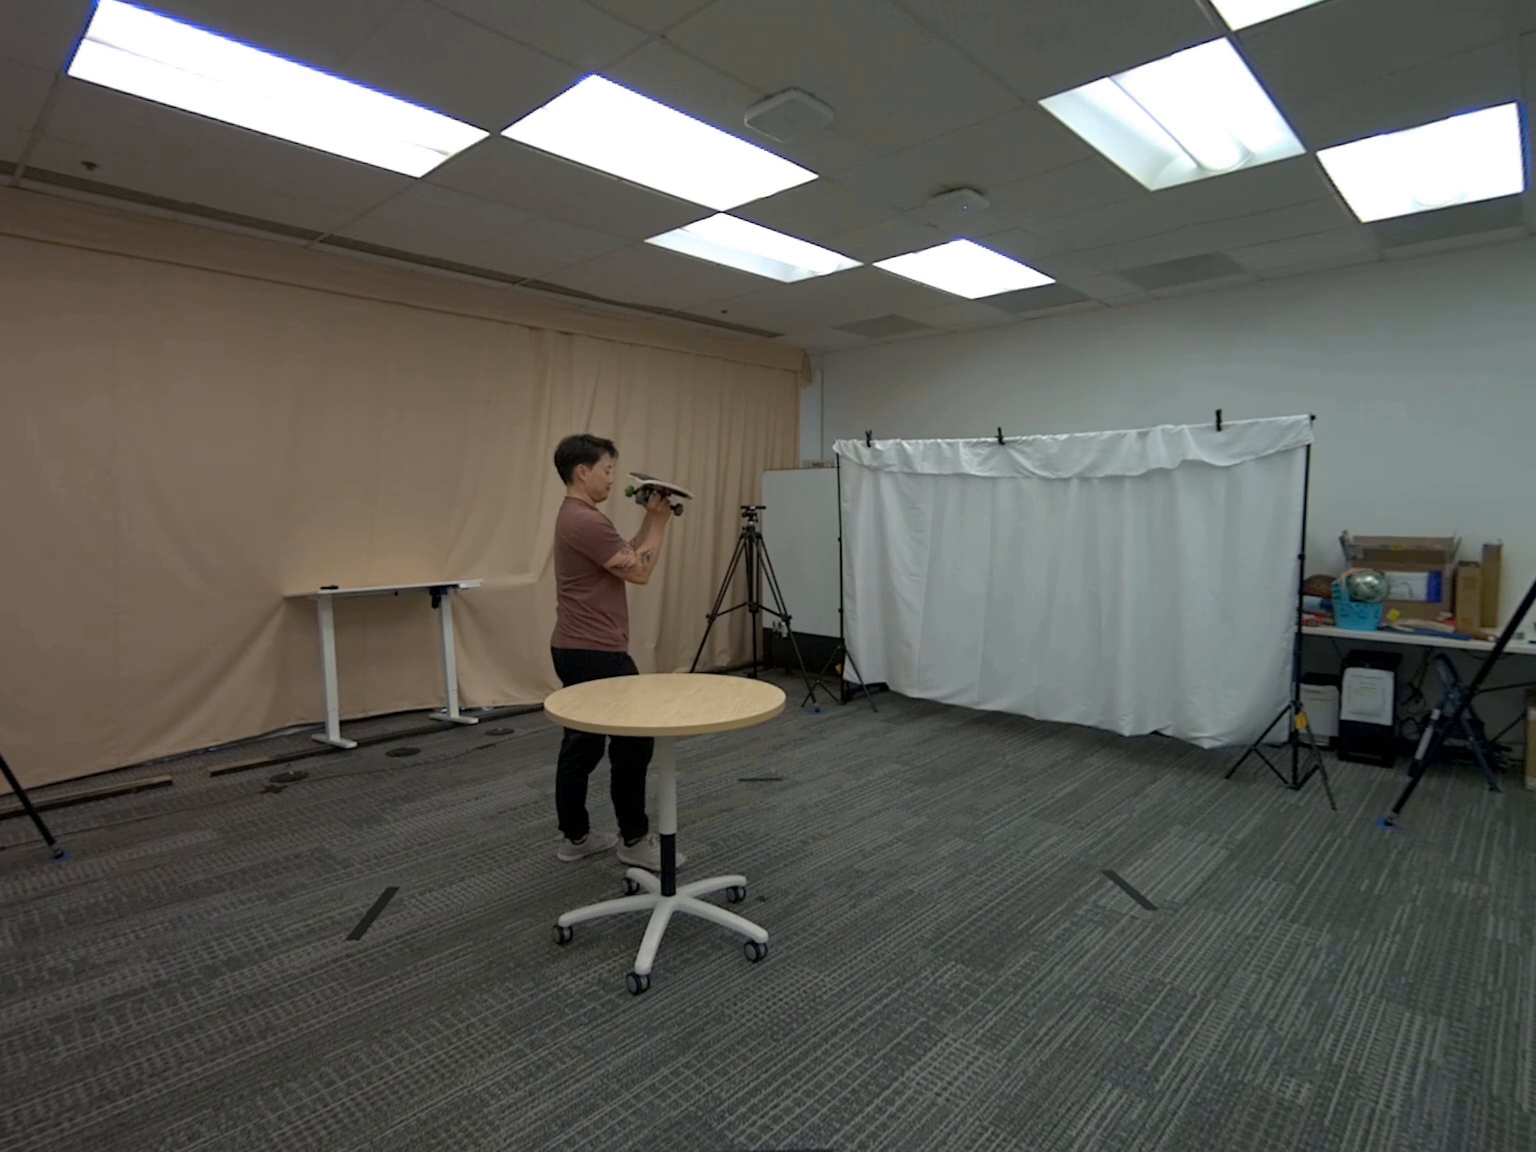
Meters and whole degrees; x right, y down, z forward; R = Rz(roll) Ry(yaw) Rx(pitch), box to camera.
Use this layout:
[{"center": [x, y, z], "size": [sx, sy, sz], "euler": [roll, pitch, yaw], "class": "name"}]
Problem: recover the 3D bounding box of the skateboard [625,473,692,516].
[{"center": [-0.446, -0.333, 3.384], "size": [0.190, 0.110, 0.800], "euler": [18, 4, -16], "class": "skateboard"}]
